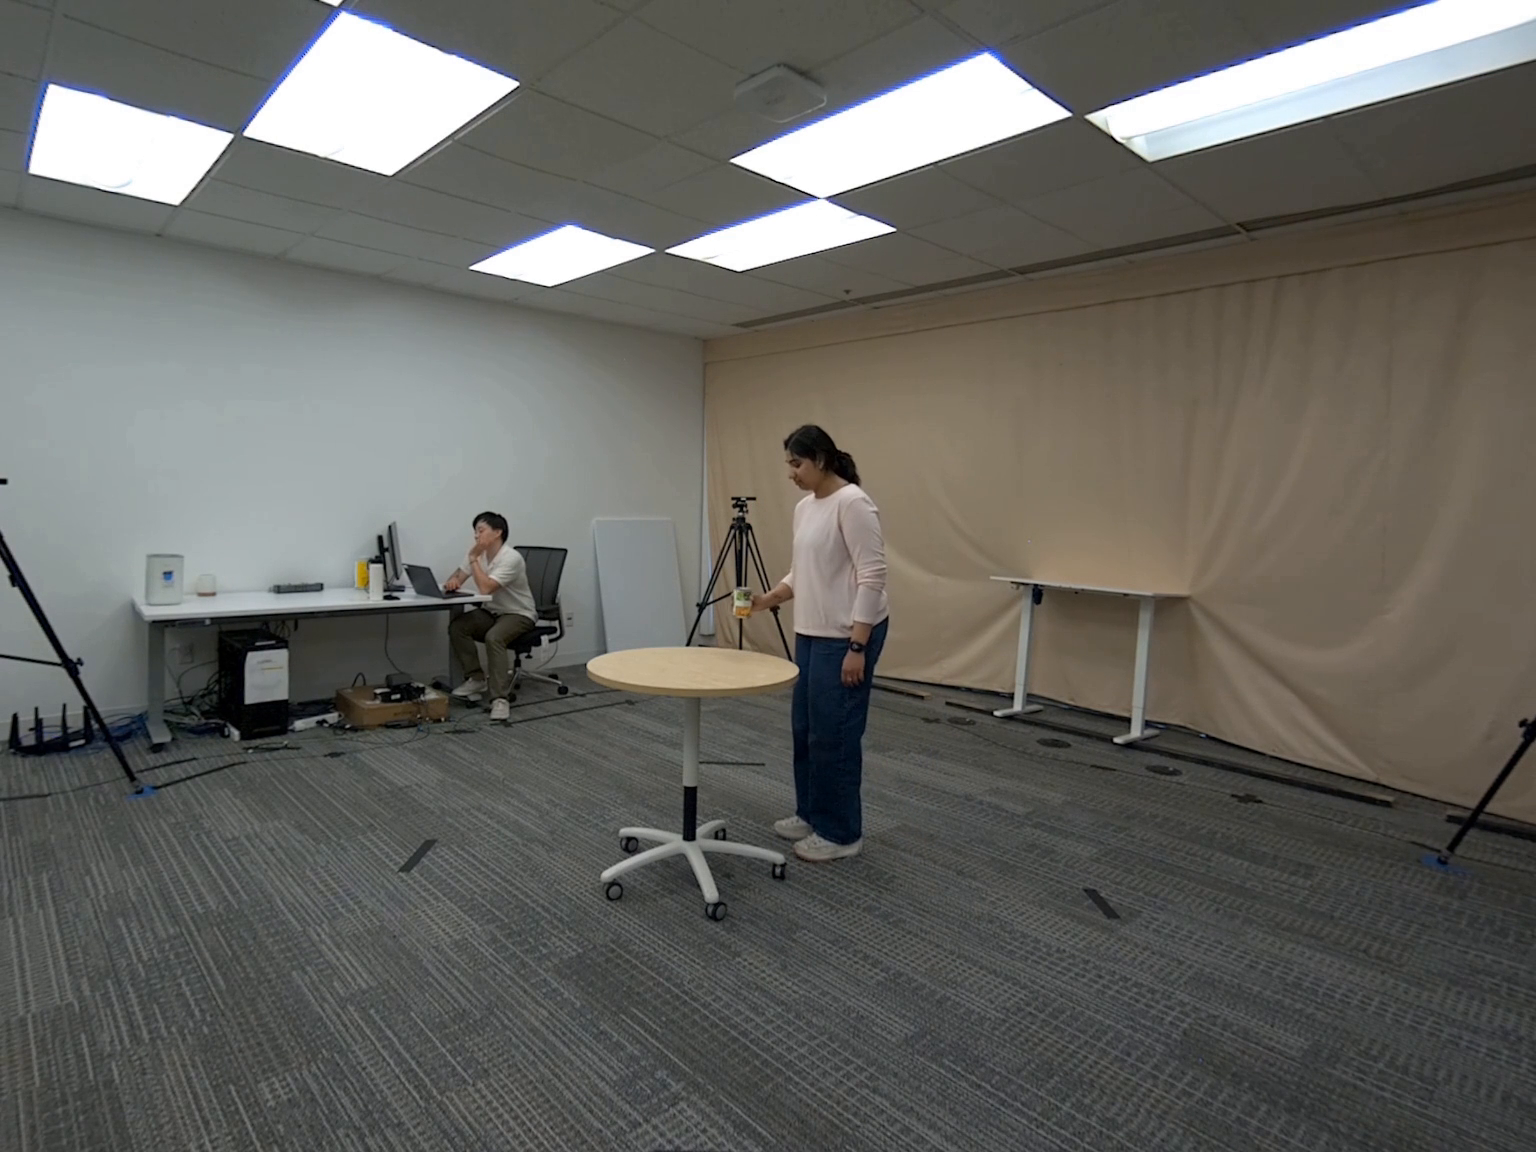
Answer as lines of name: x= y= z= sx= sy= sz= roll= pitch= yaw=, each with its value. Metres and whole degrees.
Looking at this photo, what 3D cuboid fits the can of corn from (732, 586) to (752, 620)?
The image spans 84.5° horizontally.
can of corn: x=-0.107 y=0.109 z=3.313 sx=0.074 sy=0.111 sz=0.074 roll=3 pitch=-1 yaw=-1
